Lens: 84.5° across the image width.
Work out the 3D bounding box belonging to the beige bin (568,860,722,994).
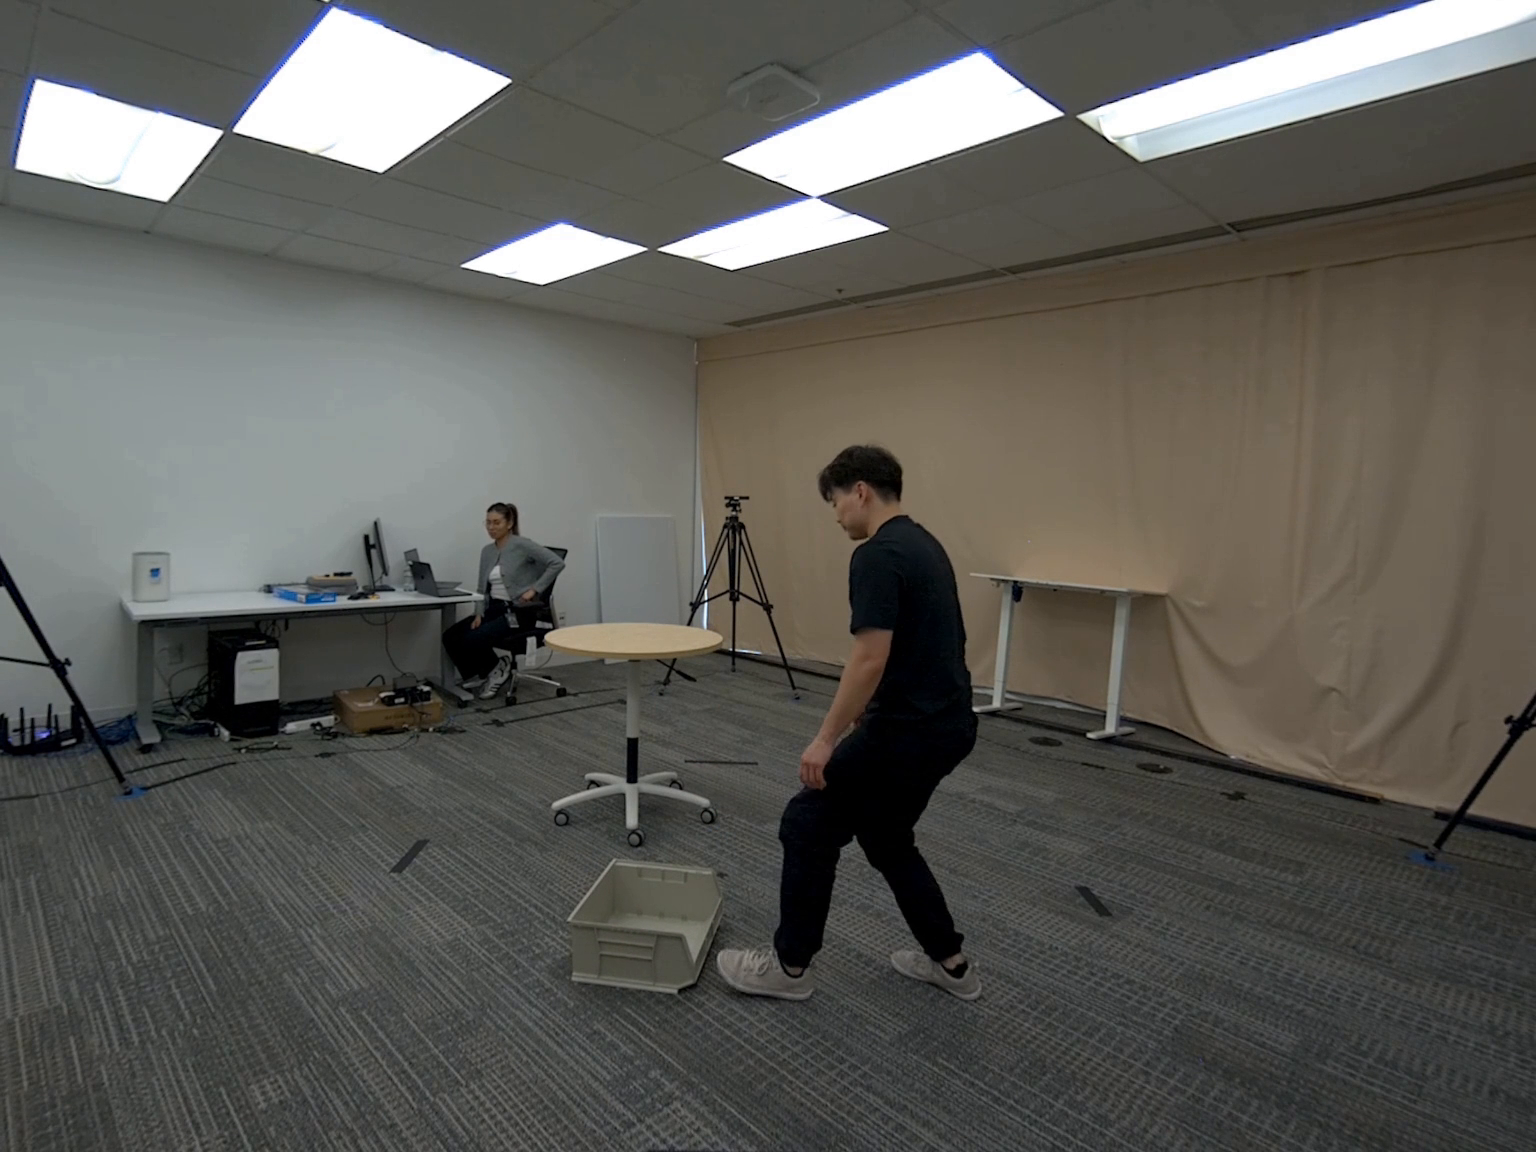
[{"bbox_3d":[-0.366,1.062,2.569,0.380,0.188,0.420,2,5,9],"label":"beige bin"}]
